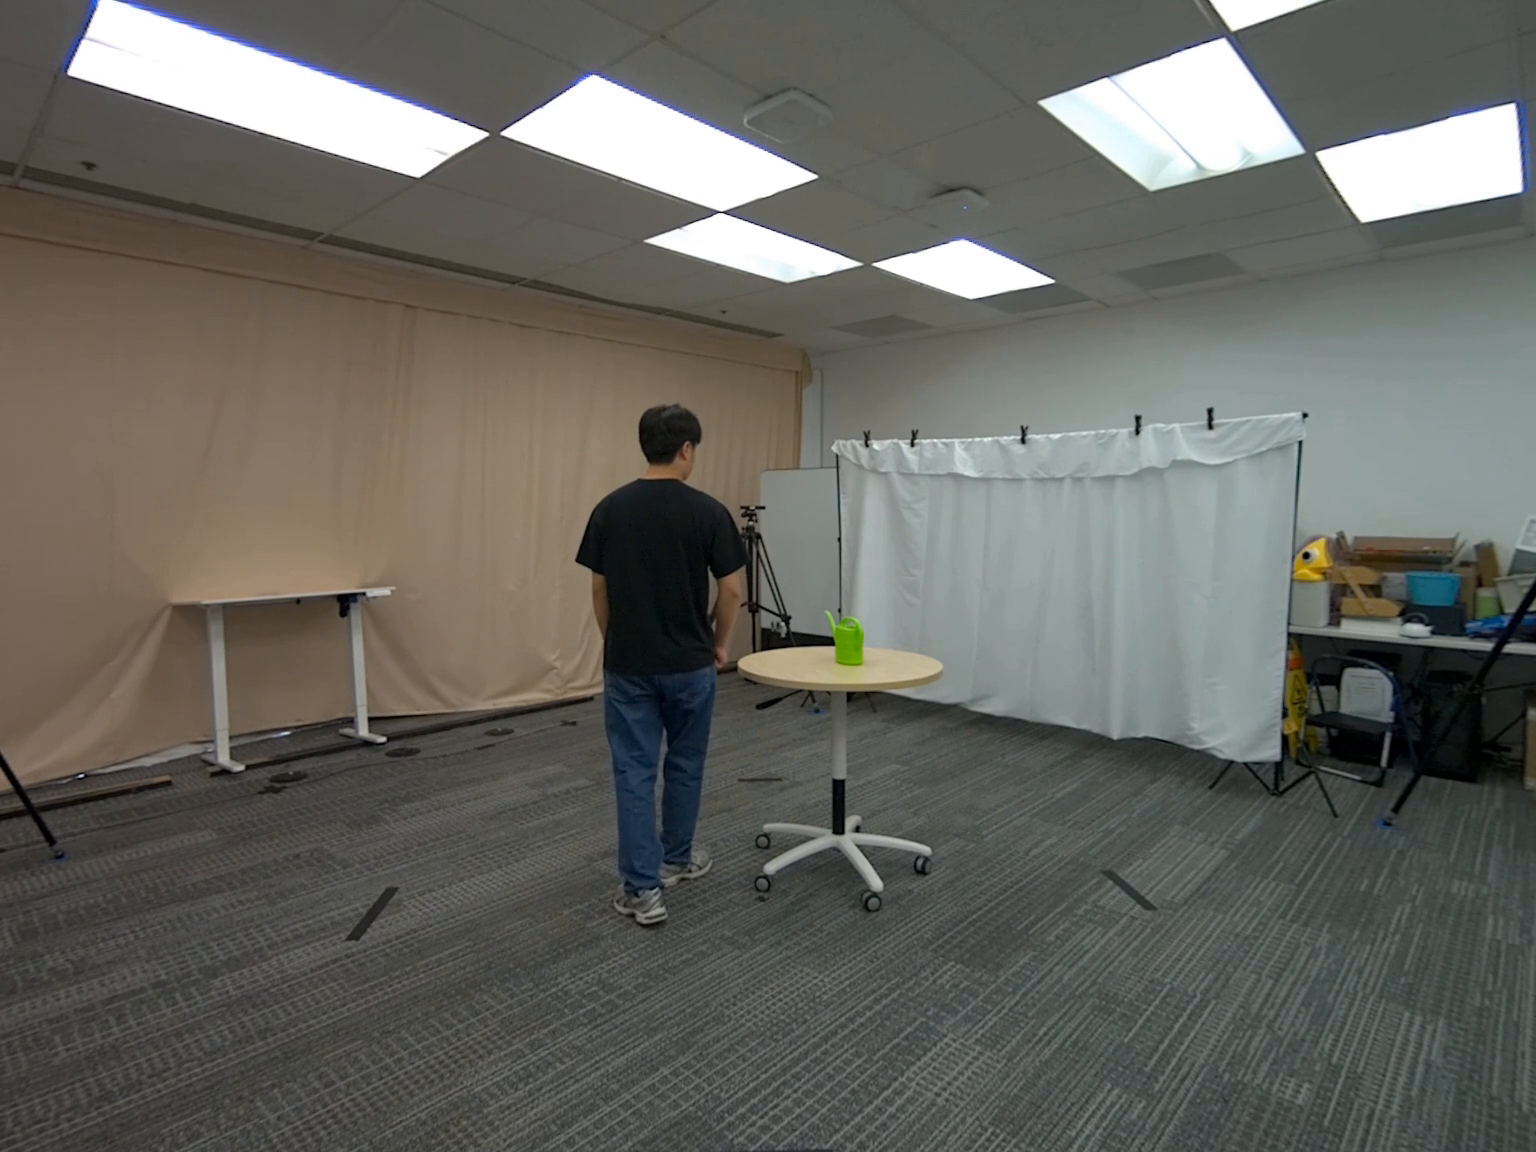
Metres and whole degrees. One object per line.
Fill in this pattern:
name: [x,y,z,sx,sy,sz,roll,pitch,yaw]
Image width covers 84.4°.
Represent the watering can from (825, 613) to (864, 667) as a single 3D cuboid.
watering can: [0.305,0.239,3.231,0.097,0.176,0.282,2,4,-12]
